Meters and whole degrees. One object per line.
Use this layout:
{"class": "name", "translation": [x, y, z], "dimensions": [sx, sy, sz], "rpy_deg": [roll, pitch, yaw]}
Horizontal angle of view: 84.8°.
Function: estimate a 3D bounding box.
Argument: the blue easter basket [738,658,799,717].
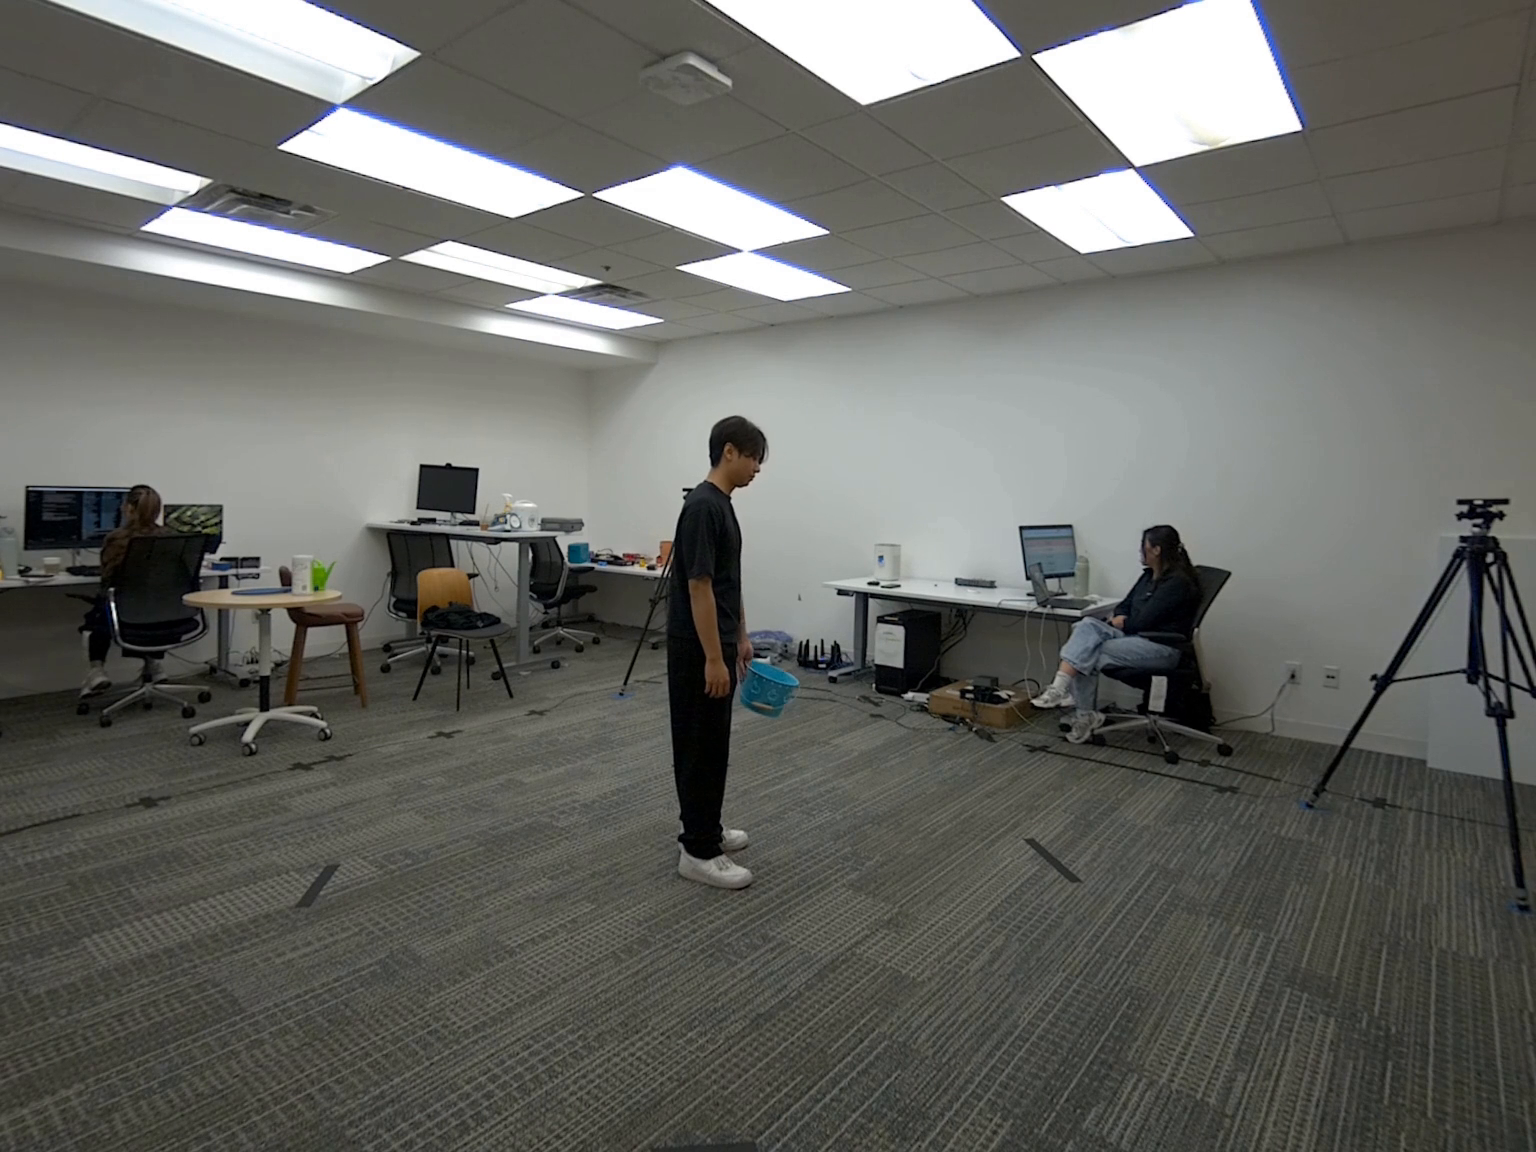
{"class": "blue easter basket", "translation": [-0.029, 0.451, 3.397], "dimensions": [0.243, 0.155, 0.245], "rpy_deg": [20, 6, -4]}
